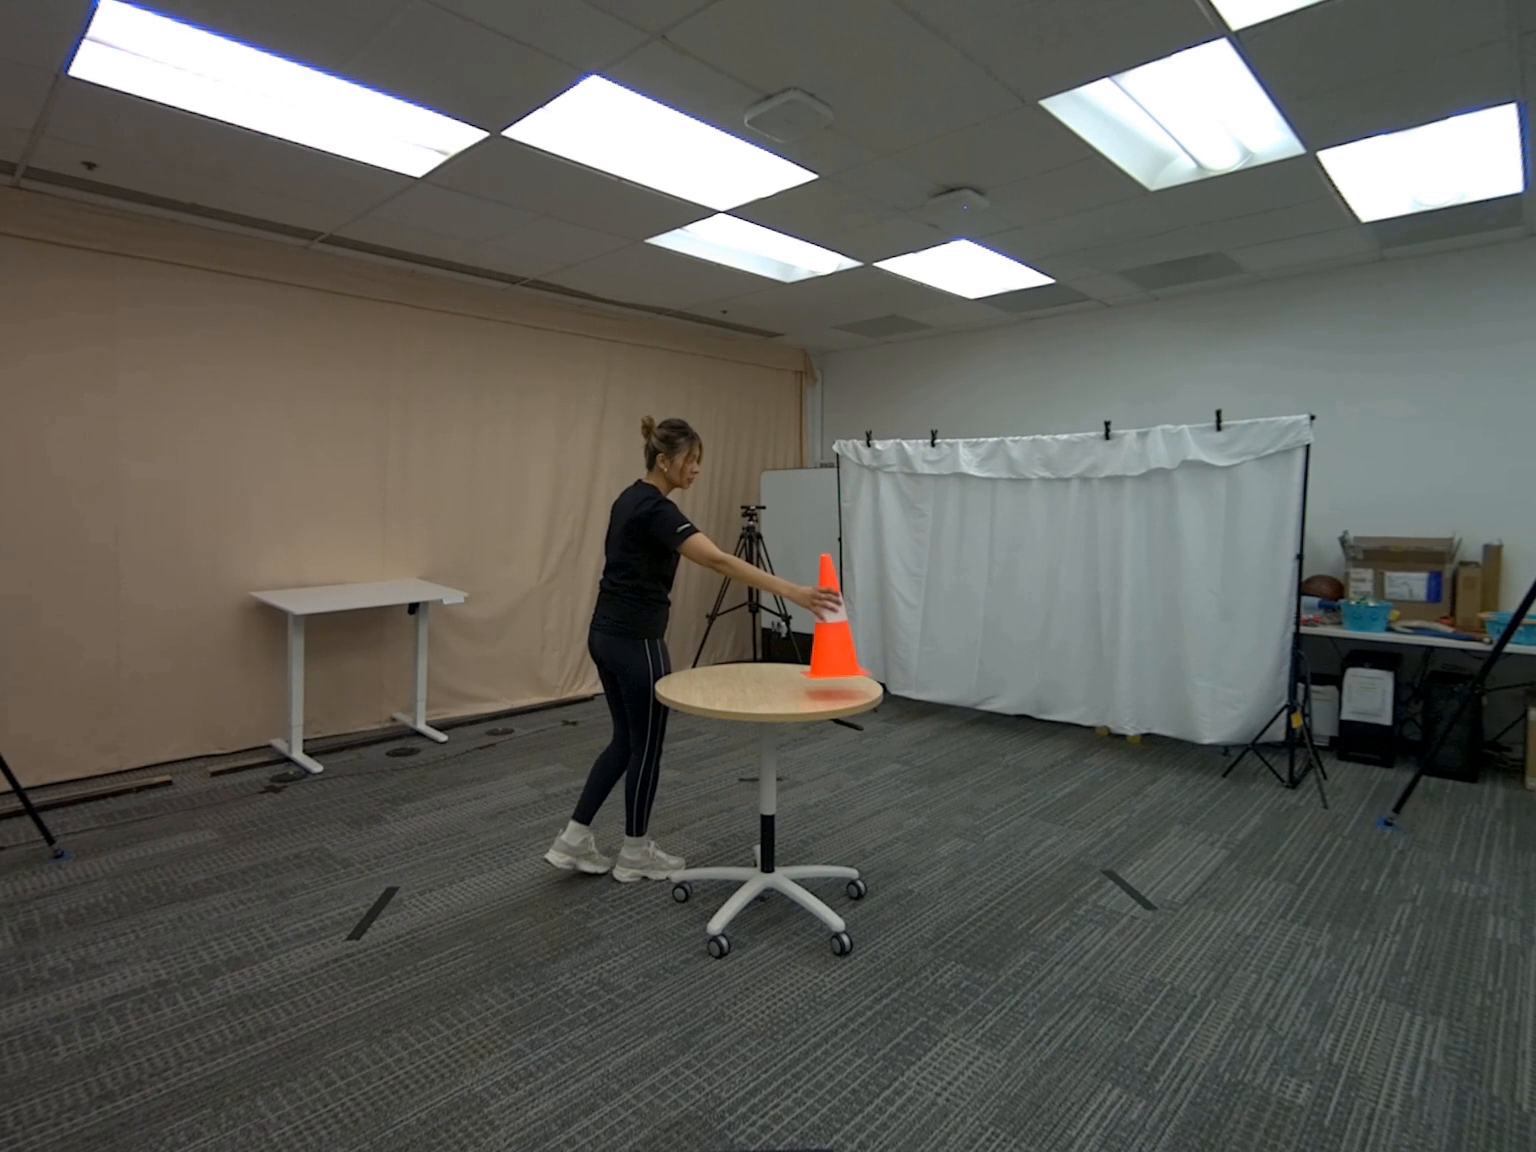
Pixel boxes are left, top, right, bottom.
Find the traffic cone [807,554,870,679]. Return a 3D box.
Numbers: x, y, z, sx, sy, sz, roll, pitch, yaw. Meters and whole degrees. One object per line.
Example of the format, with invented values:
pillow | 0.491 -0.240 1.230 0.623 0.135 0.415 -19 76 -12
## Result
traffic cone | 0.201 0.121 2.696 0.203 0.384 0.205 -6 -1 -11
